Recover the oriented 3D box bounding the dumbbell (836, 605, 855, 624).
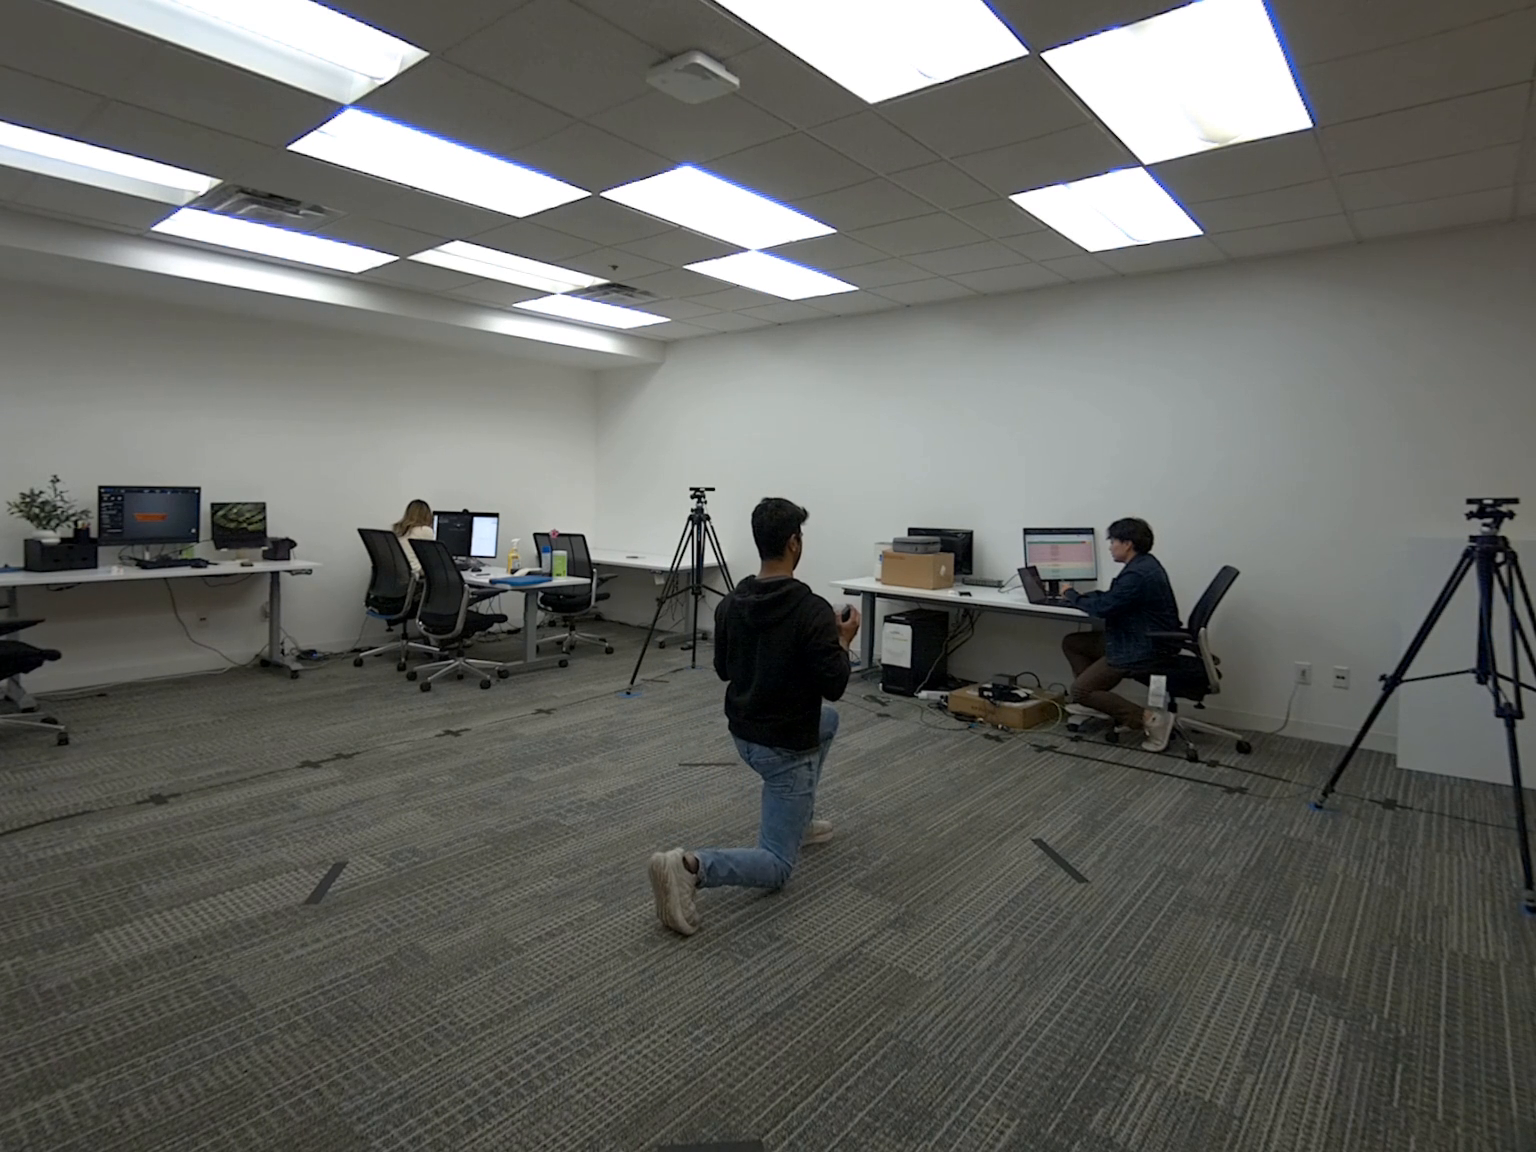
[{"bbox_3d":[0.183,0.151,3.327,0.304,0.123,0.105,6,-4,41],"label":"dumbbell"}]
